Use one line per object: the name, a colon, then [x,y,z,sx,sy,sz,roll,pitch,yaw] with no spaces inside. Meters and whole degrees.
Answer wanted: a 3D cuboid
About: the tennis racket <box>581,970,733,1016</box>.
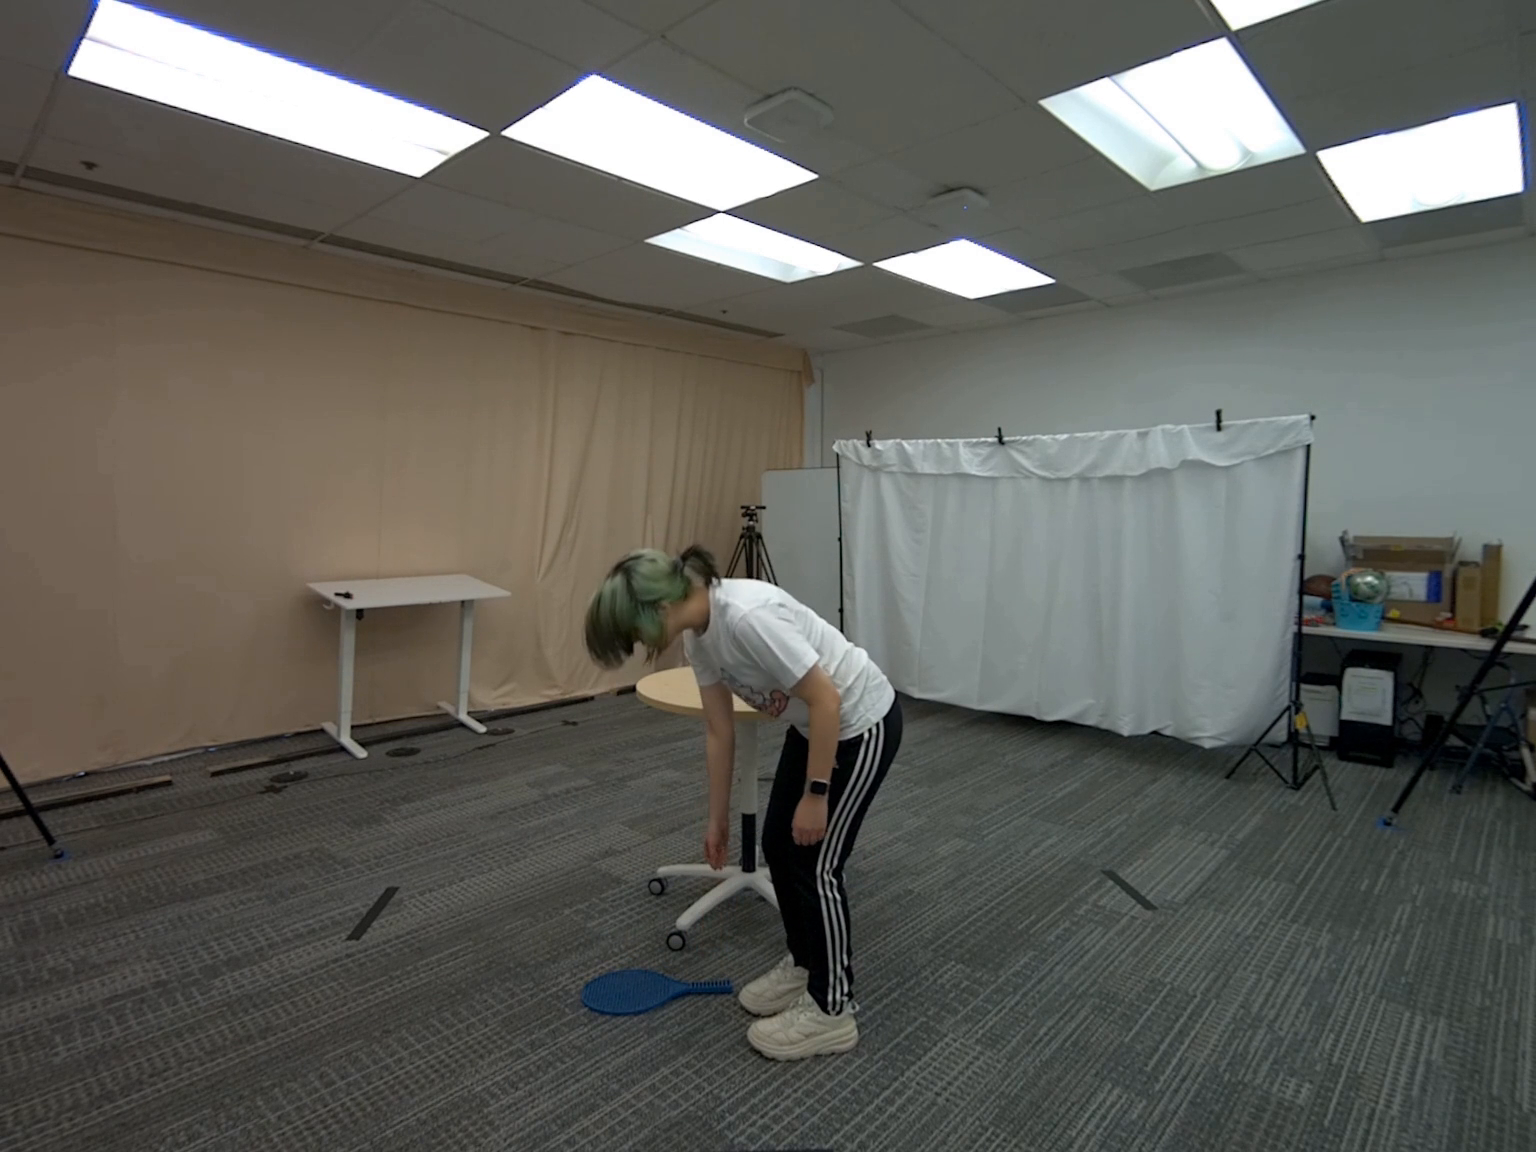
tennis racket: [-0.315,1.181,2.403,0.433,0.032,0.214,-2,4,-1]
